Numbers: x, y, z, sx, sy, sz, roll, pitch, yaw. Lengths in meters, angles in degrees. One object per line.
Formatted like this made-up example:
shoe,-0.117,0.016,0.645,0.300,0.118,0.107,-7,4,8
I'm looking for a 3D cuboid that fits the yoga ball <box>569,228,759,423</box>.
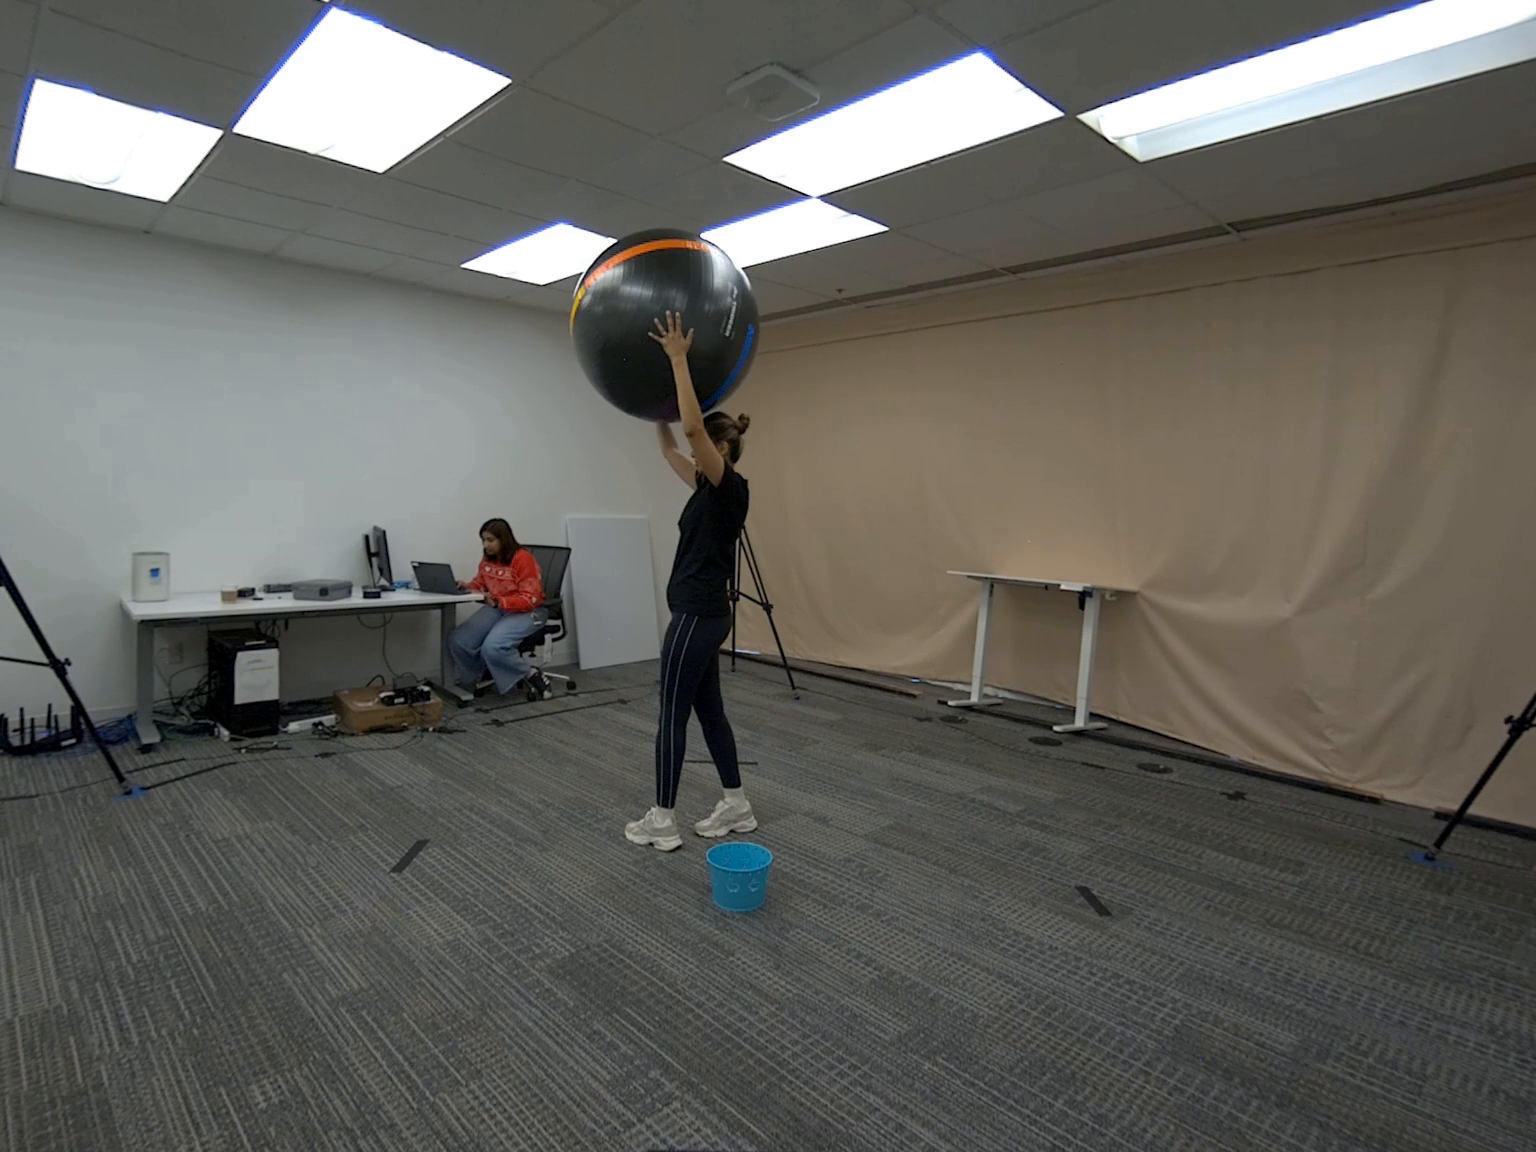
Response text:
yoga ball,-0.418,-0.993,3.394,0.757,0.756,0.761,1,4,-1
